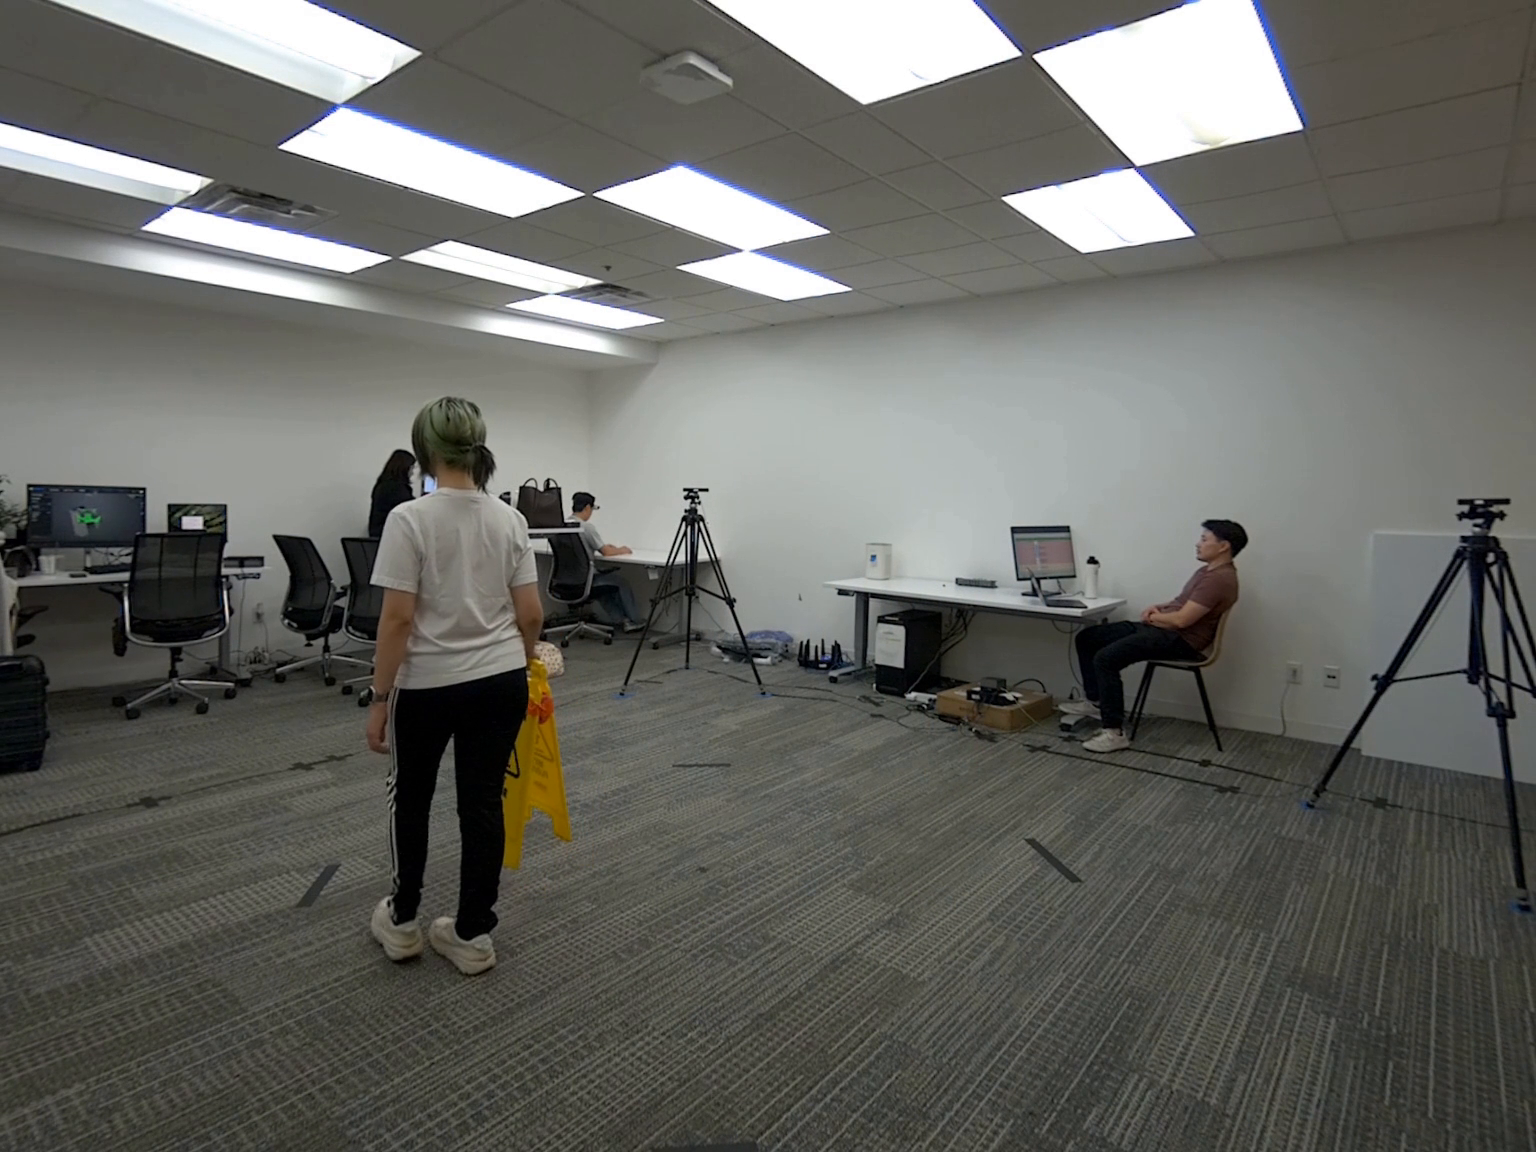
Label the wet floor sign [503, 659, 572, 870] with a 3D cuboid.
[{"bbox_3d":[-0.832,0.575,2.807,0.292,0.641,0.282,12,11,34],"label":"wet floor sign"}]
